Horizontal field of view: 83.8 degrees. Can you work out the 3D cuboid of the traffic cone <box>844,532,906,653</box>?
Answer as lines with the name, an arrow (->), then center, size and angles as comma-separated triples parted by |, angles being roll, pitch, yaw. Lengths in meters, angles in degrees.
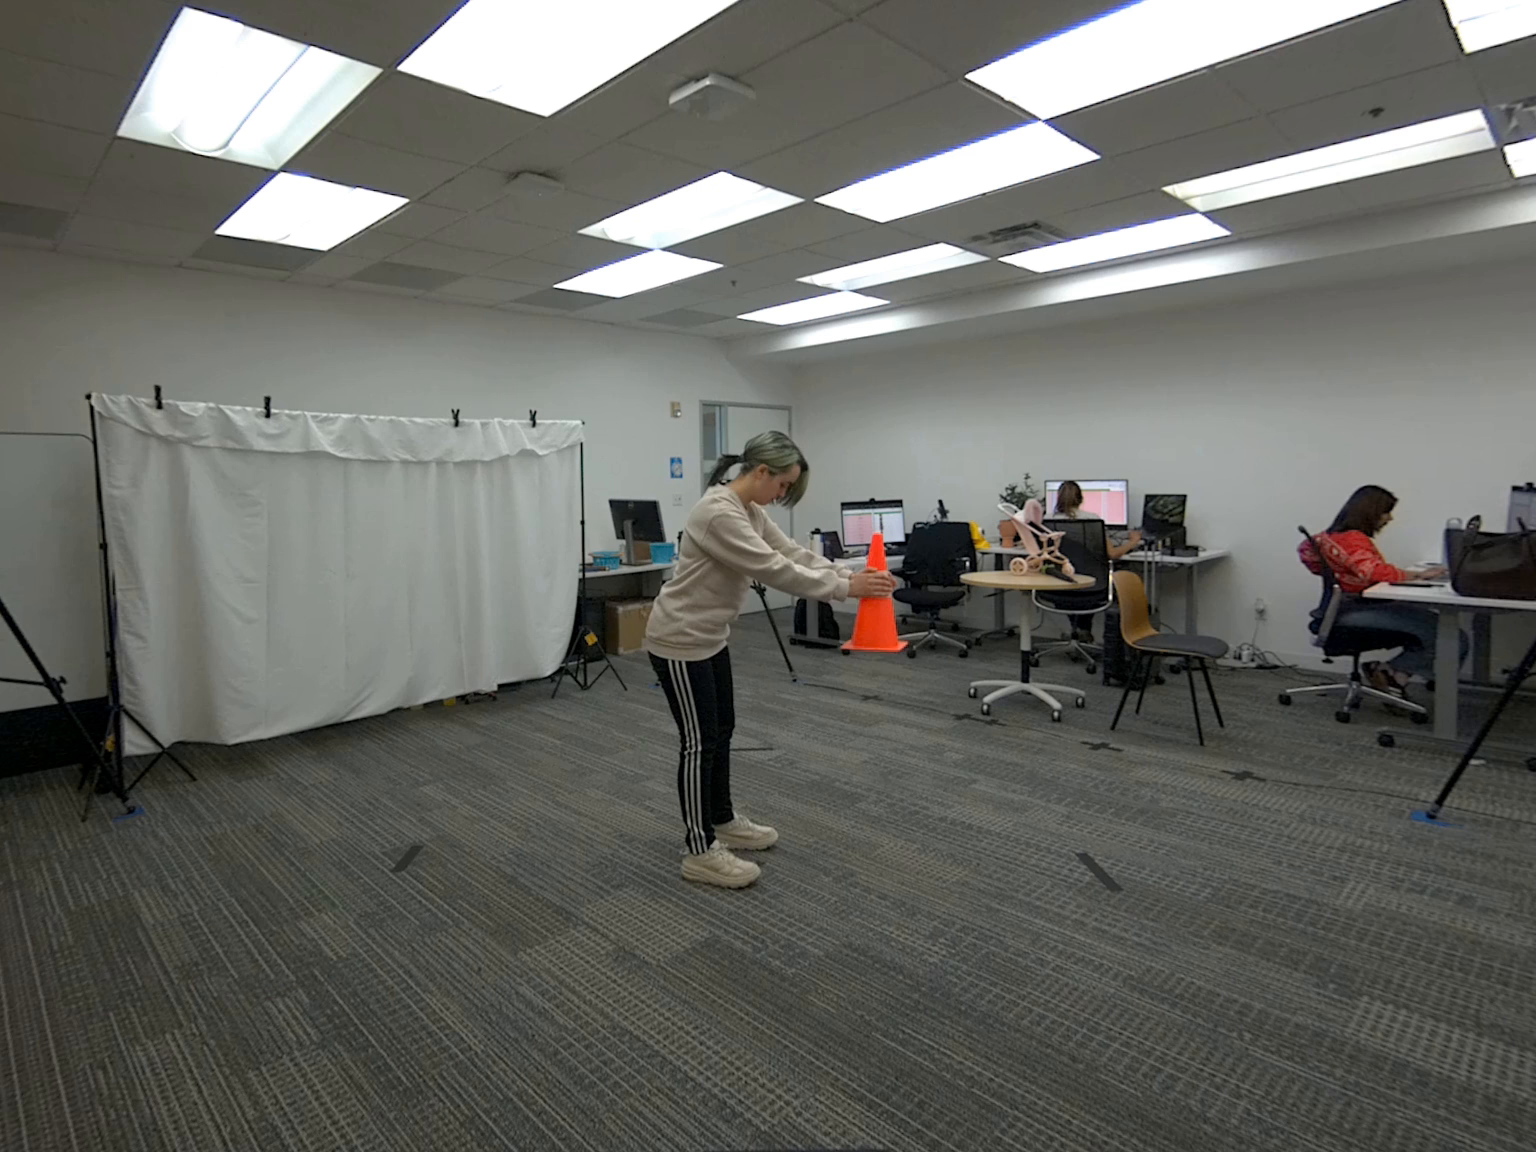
traffic cone -> 0.359, 0.055, 2.895 | 0.208, 0.382, 0.201 | 3, 4, 22
